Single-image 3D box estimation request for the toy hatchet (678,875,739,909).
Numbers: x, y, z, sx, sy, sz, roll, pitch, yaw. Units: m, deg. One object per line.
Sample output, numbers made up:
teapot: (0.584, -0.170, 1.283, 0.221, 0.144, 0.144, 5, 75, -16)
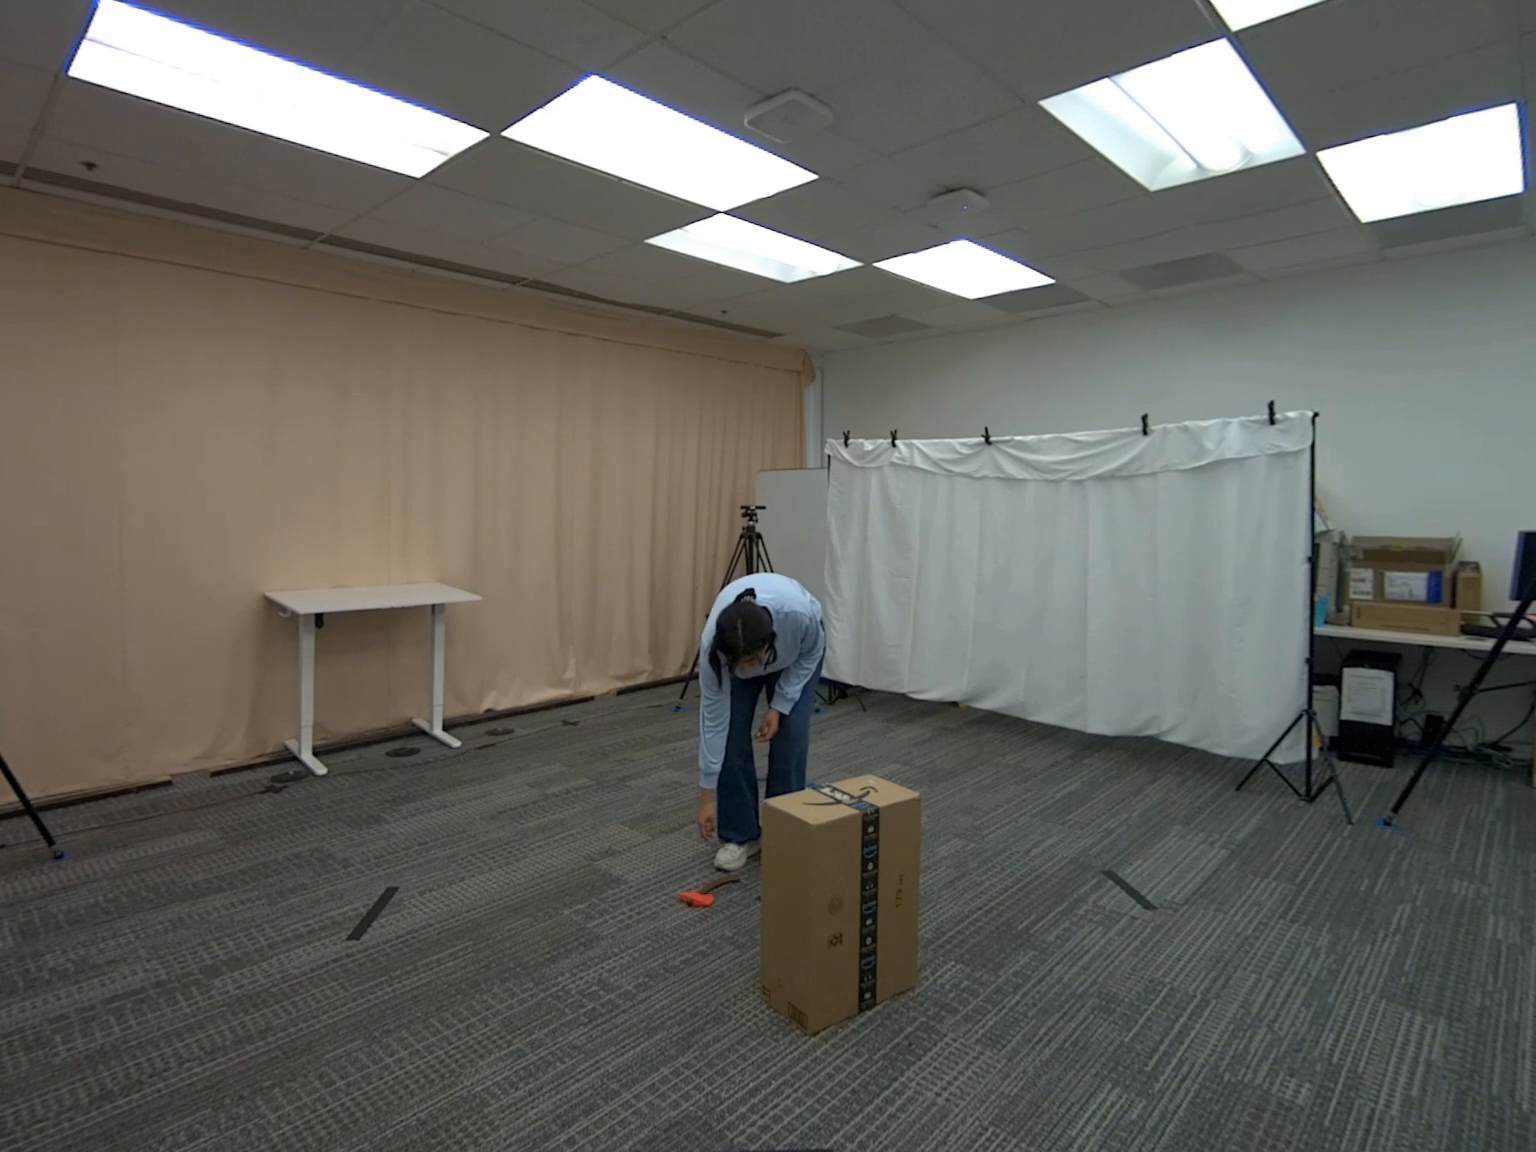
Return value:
toy hatchet: (-0.182, 1.130, 3.015, 0.262, 0.029, 0.135, -1, 4, -39)
